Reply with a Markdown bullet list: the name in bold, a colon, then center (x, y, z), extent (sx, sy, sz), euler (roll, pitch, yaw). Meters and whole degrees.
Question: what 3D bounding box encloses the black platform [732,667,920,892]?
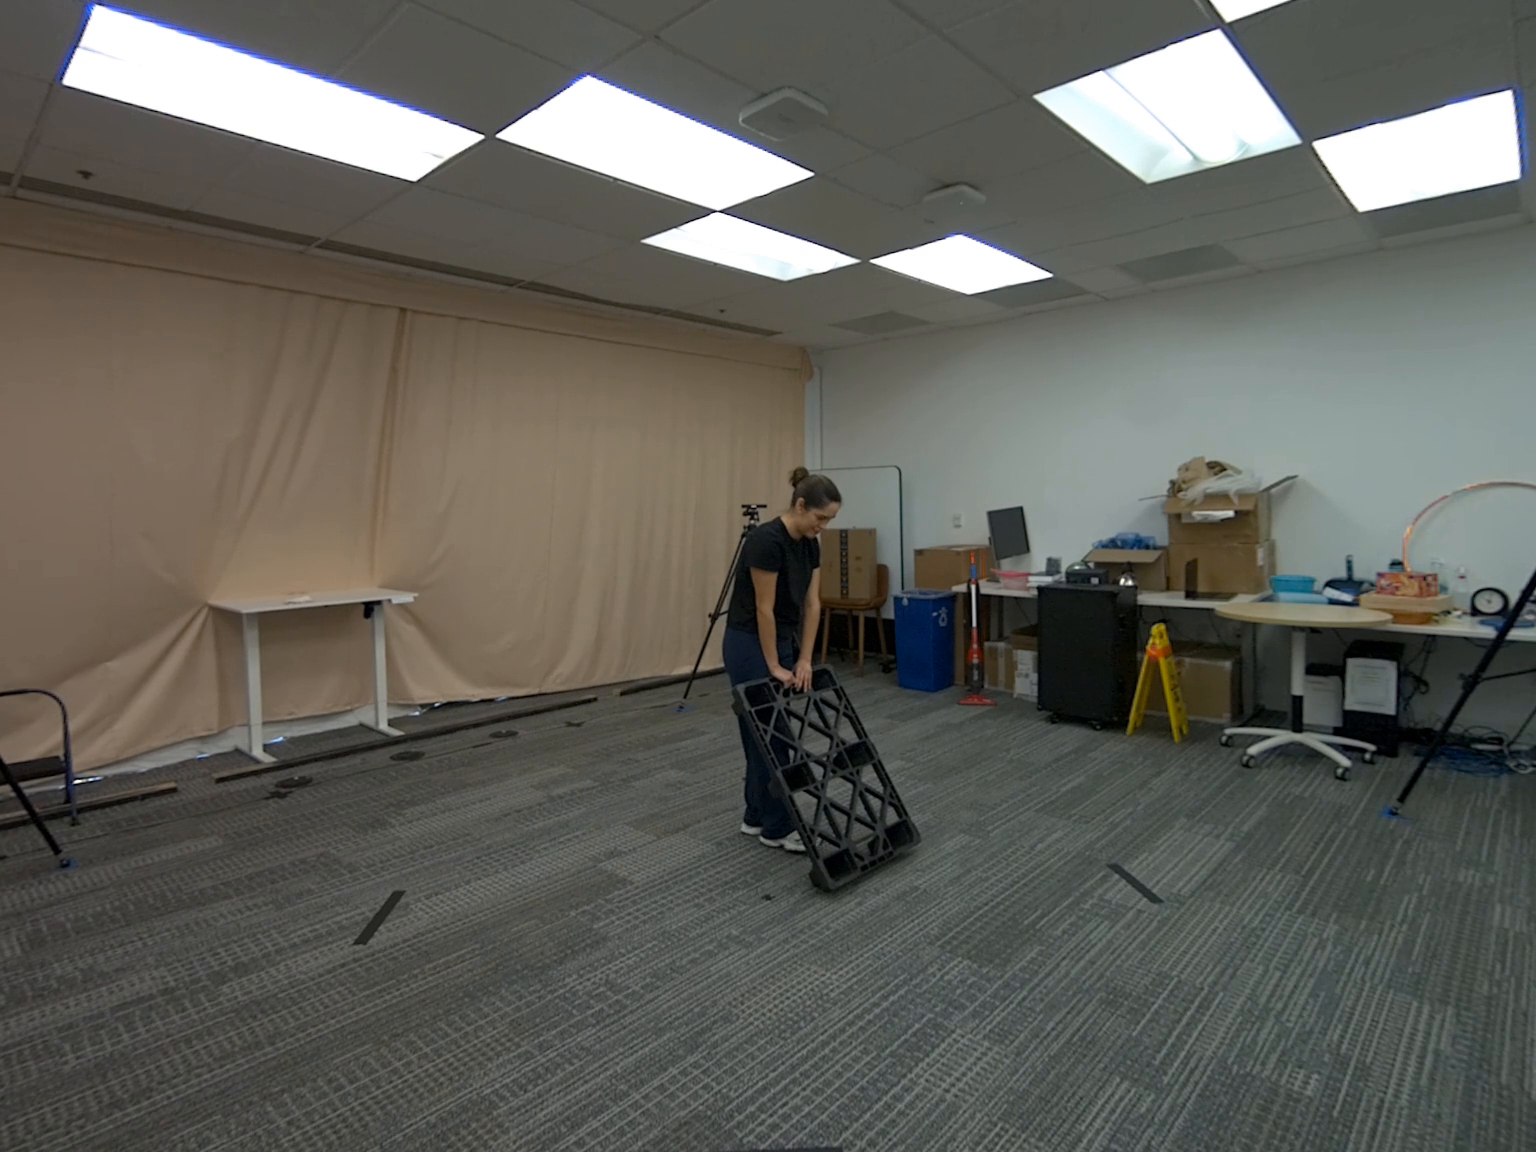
- **black platform**: center (0.225, 0.771, 3.314), extent (0.587, 0.822, 0.145), euler (-5, -30, -46)
